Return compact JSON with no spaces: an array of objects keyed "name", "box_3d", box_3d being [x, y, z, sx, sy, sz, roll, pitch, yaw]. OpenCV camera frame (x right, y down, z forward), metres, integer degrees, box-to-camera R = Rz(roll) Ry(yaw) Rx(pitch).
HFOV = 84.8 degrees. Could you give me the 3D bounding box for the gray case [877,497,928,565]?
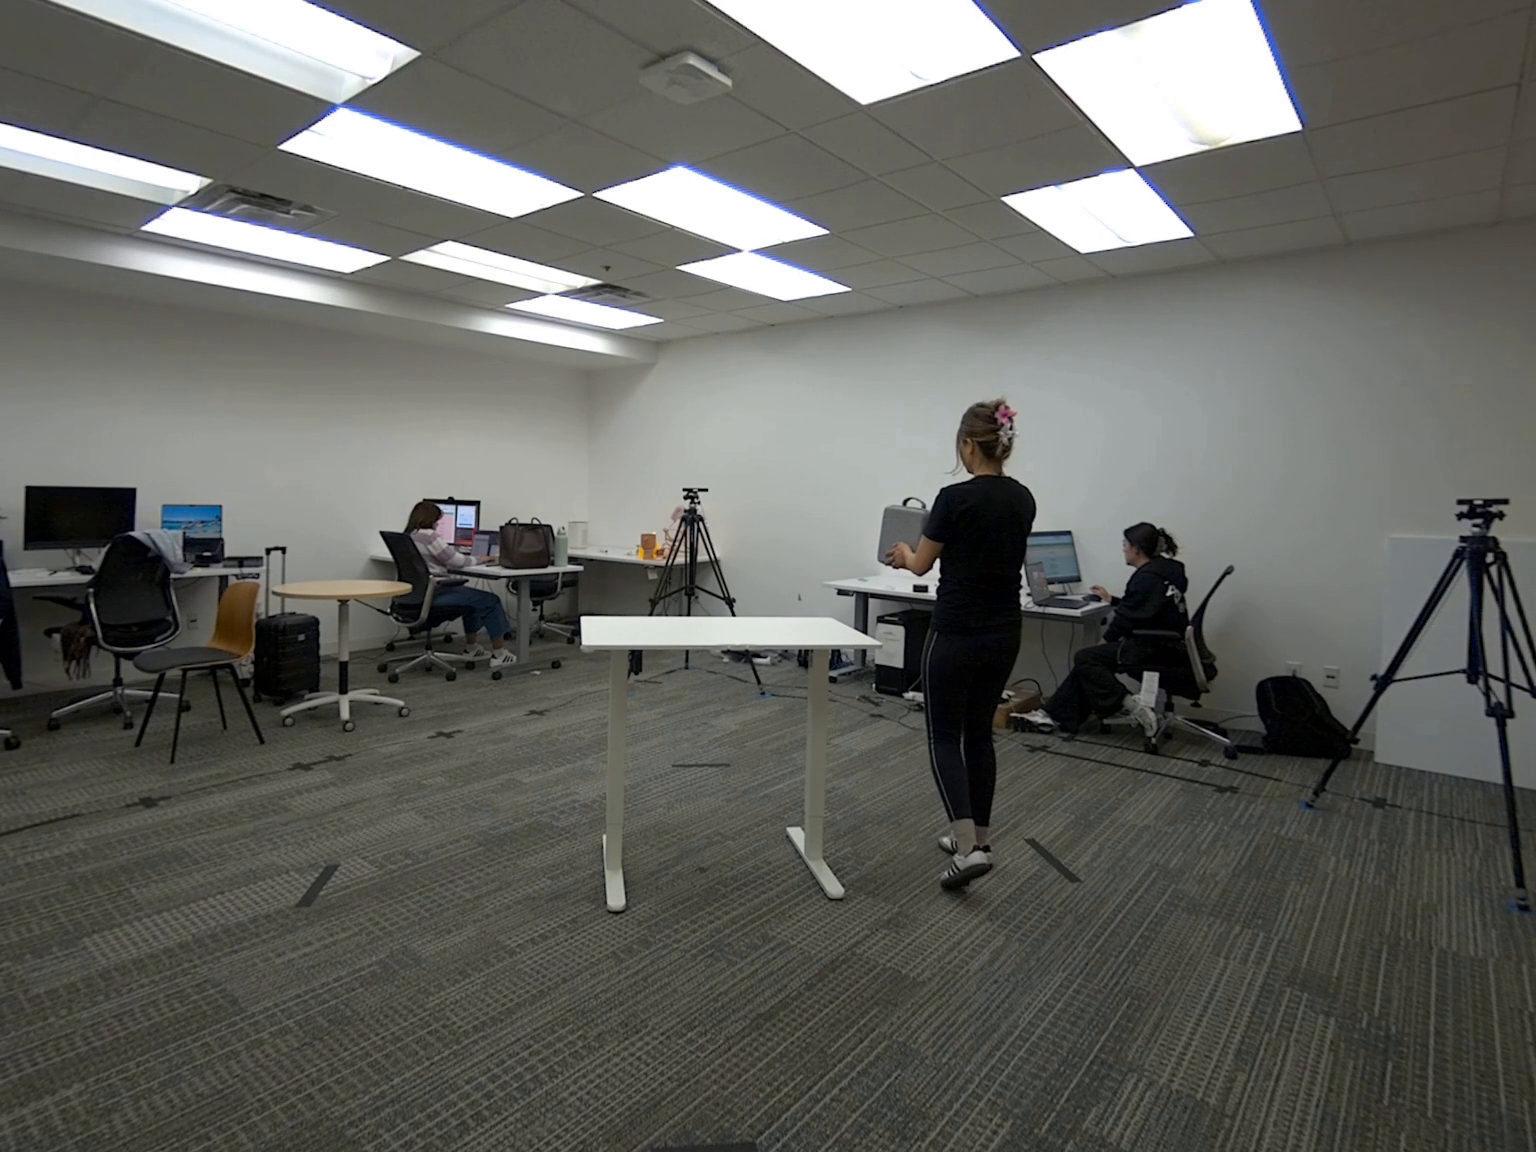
[{"name":"gray case","box_3d":[0.576,-0.170,3.548,0.101,0.259,0.266,1,8,-33]}]
